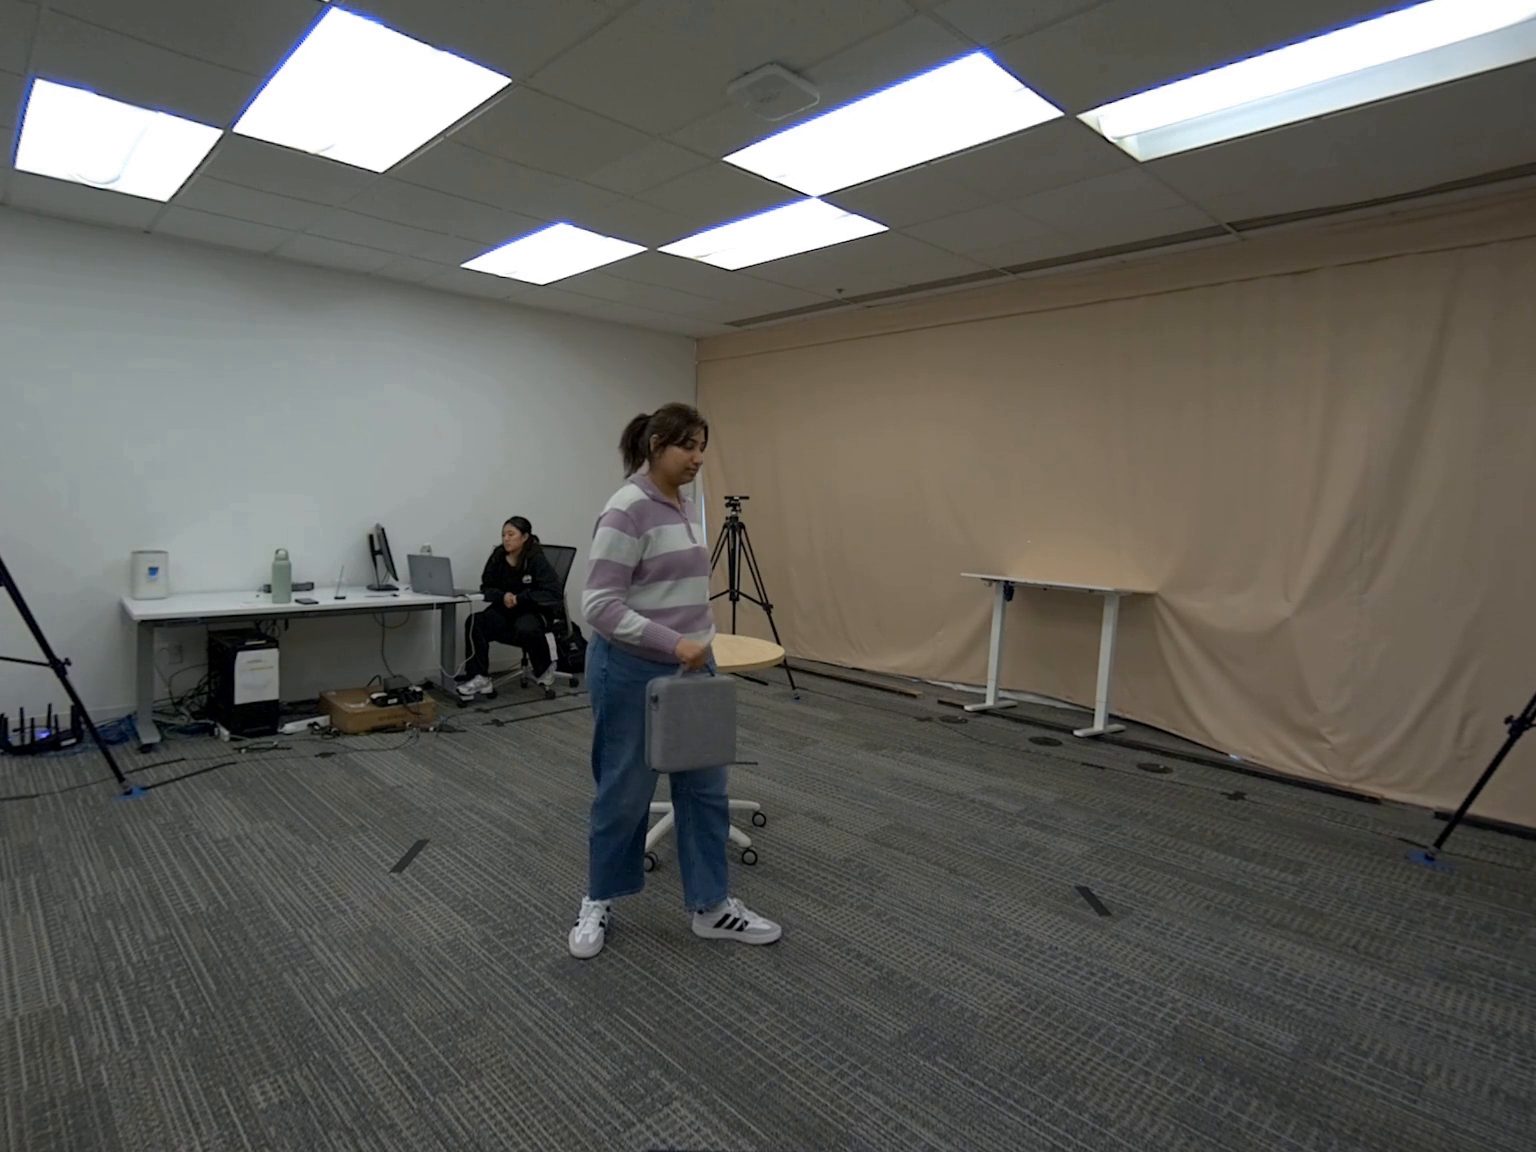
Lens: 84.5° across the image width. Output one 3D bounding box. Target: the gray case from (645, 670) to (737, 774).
[{"bbox_3d":[-0.218,0.401,2.337,0.251,0.261,0.106,2,-3,-36],"label":"gray case"}]
